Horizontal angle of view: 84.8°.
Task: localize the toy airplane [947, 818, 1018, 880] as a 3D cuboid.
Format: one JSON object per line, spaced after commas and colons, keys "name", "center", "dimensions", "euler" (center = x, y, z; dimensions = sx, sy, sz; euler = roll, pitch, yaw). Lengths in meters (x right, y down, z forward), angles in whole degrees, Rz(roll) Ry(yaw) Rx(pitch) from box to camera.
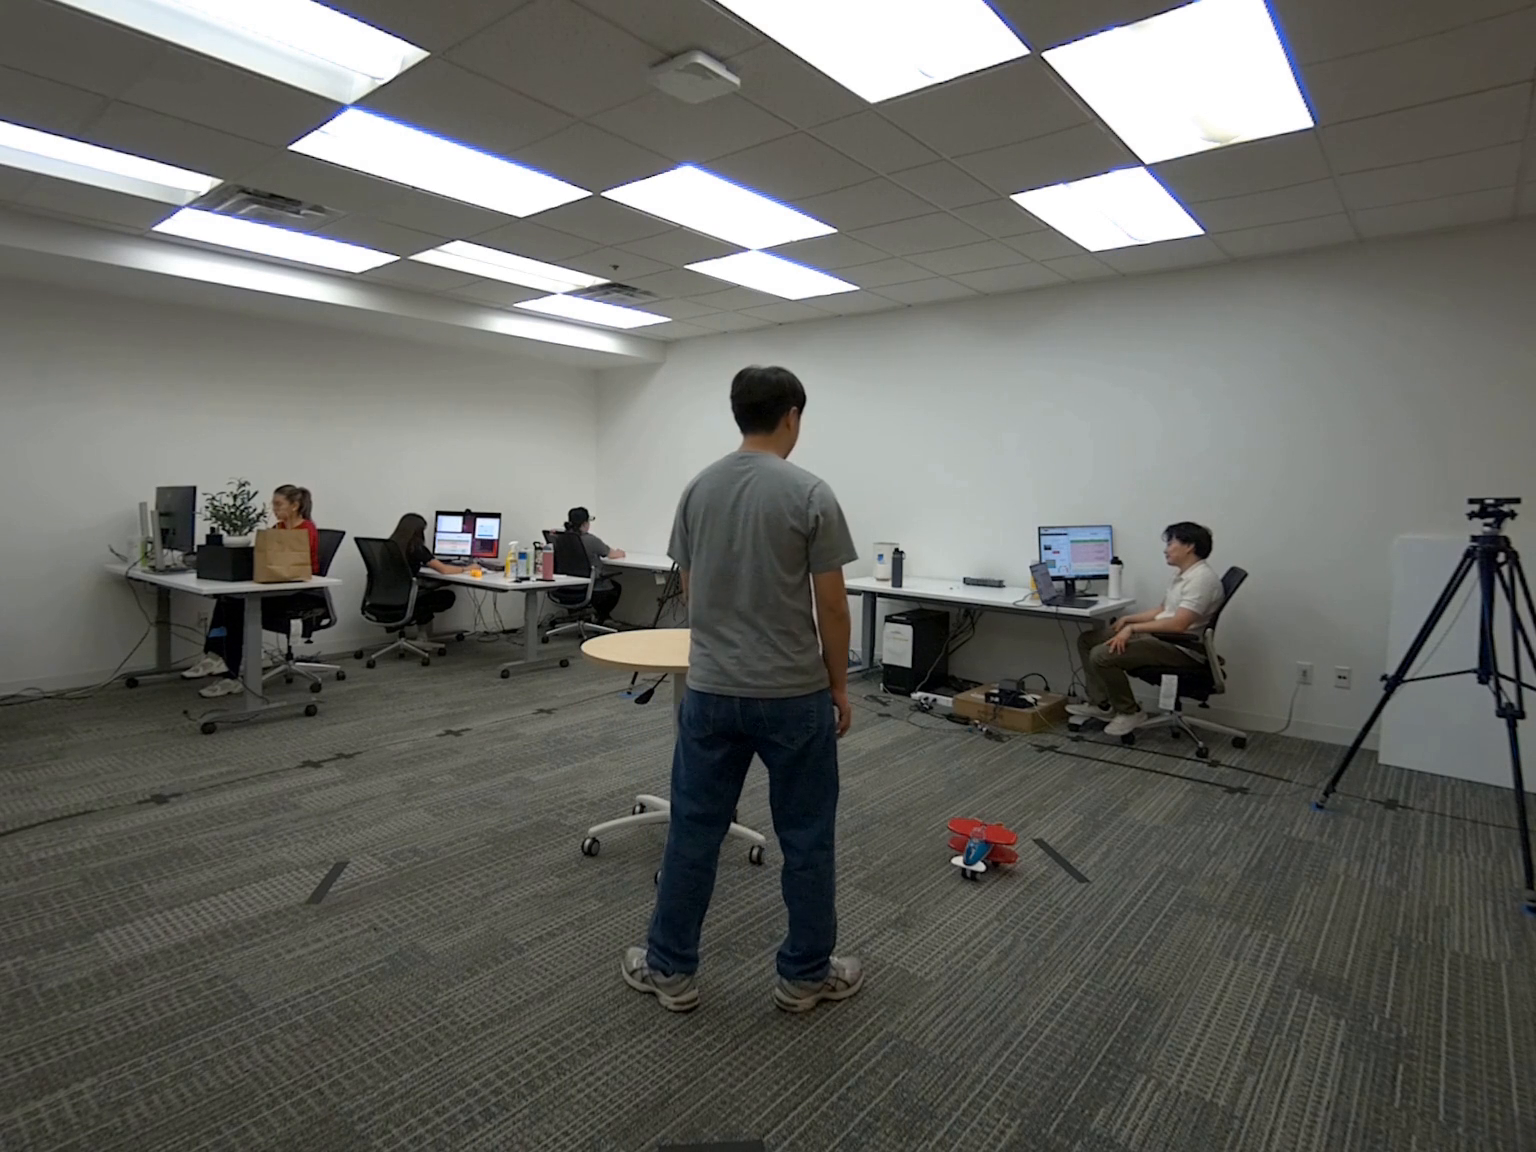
{"name": "toy airplane", "center": [0.792, 1.010, 3.147], "dimensions": [0.253, 0.156, 0.258], "euler": [1, 4, 5]}
